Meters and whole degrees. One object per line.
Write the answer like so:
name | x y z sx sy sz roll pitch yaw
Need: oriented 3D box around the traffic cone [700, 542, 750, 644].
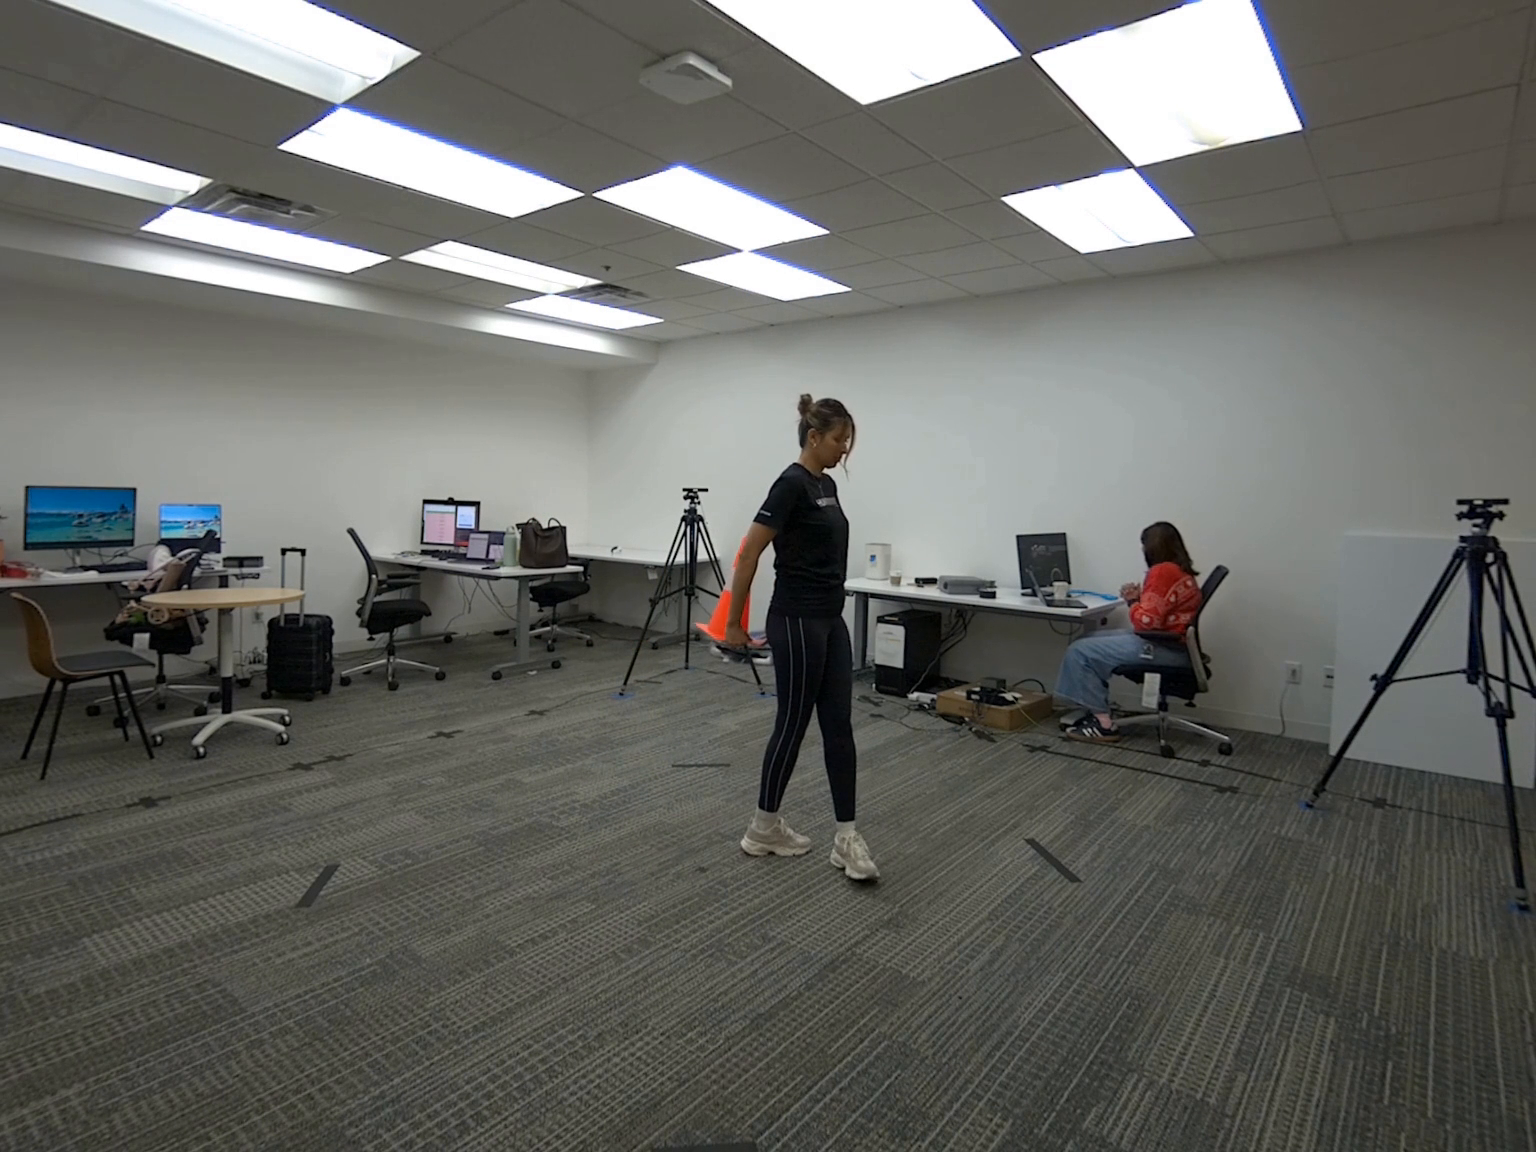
traffic cone | -0.114 0.037 3.223 0.197 0.382 0.212 8 5 -29
